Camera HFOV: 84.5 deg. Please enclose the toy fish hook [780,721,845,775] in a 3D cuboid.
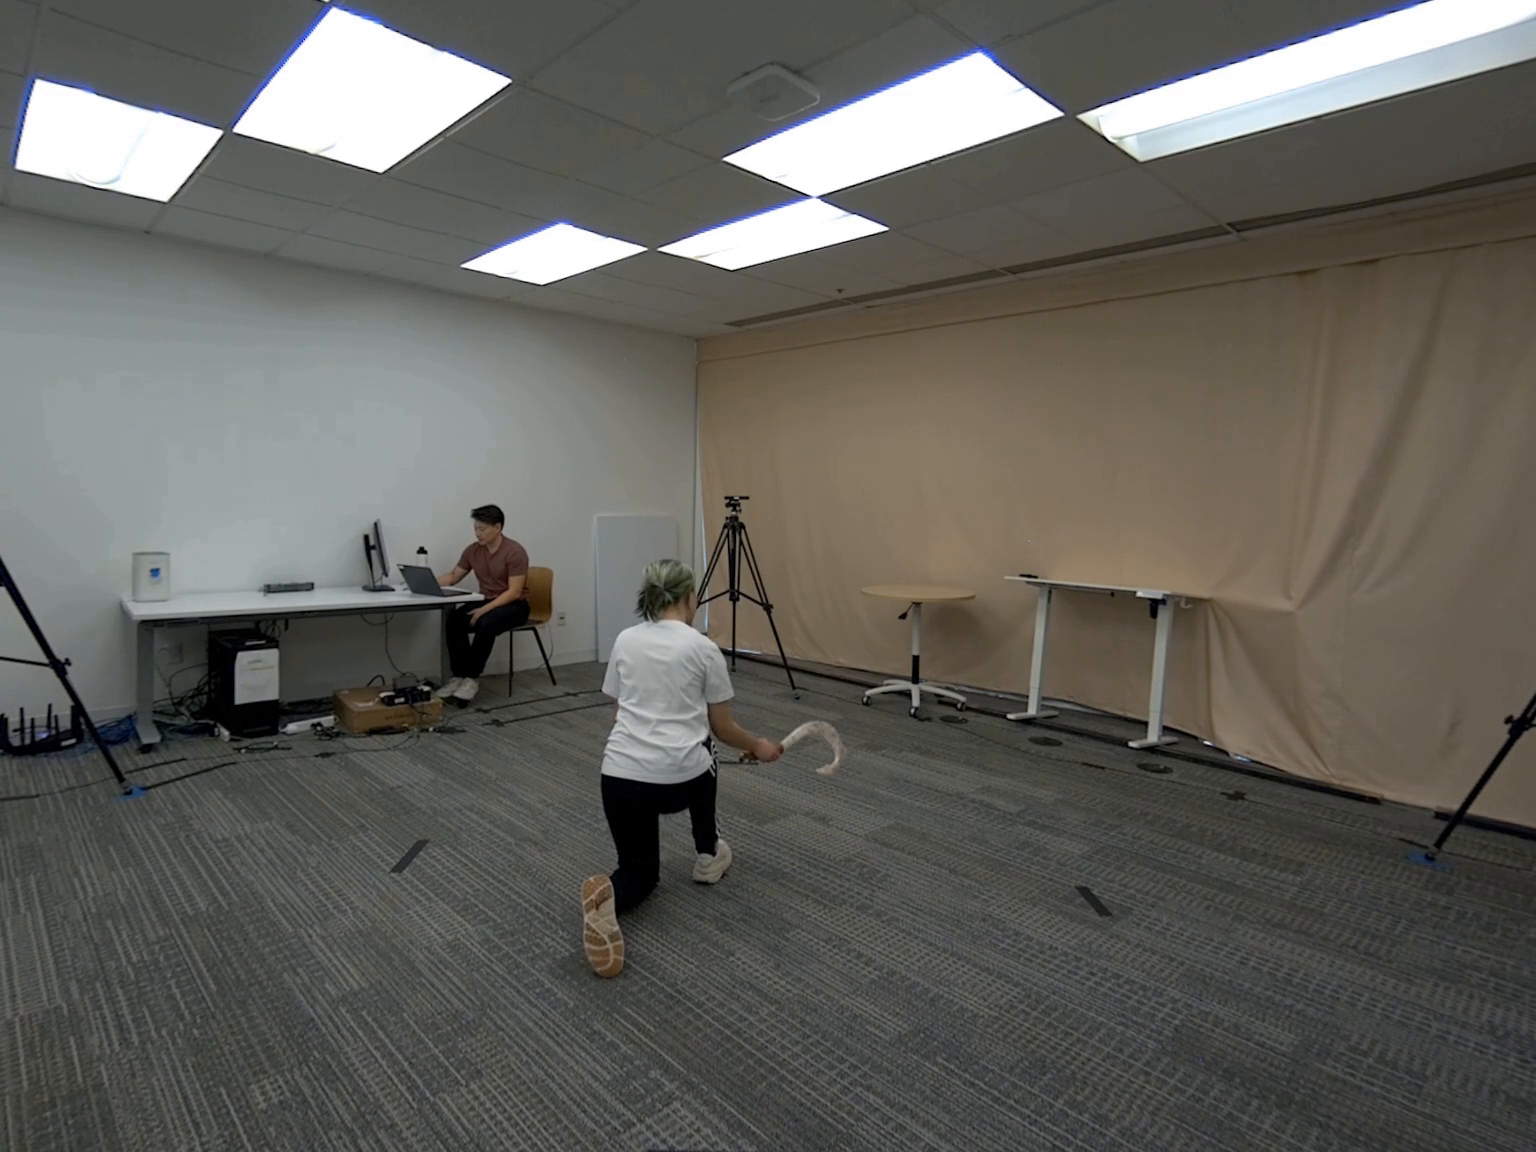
[{"bbox_3d":[0.113,0.706,3.308,0.497,0.230,0.048,-9,-35,-37],"label":"toy fish hook"}]
